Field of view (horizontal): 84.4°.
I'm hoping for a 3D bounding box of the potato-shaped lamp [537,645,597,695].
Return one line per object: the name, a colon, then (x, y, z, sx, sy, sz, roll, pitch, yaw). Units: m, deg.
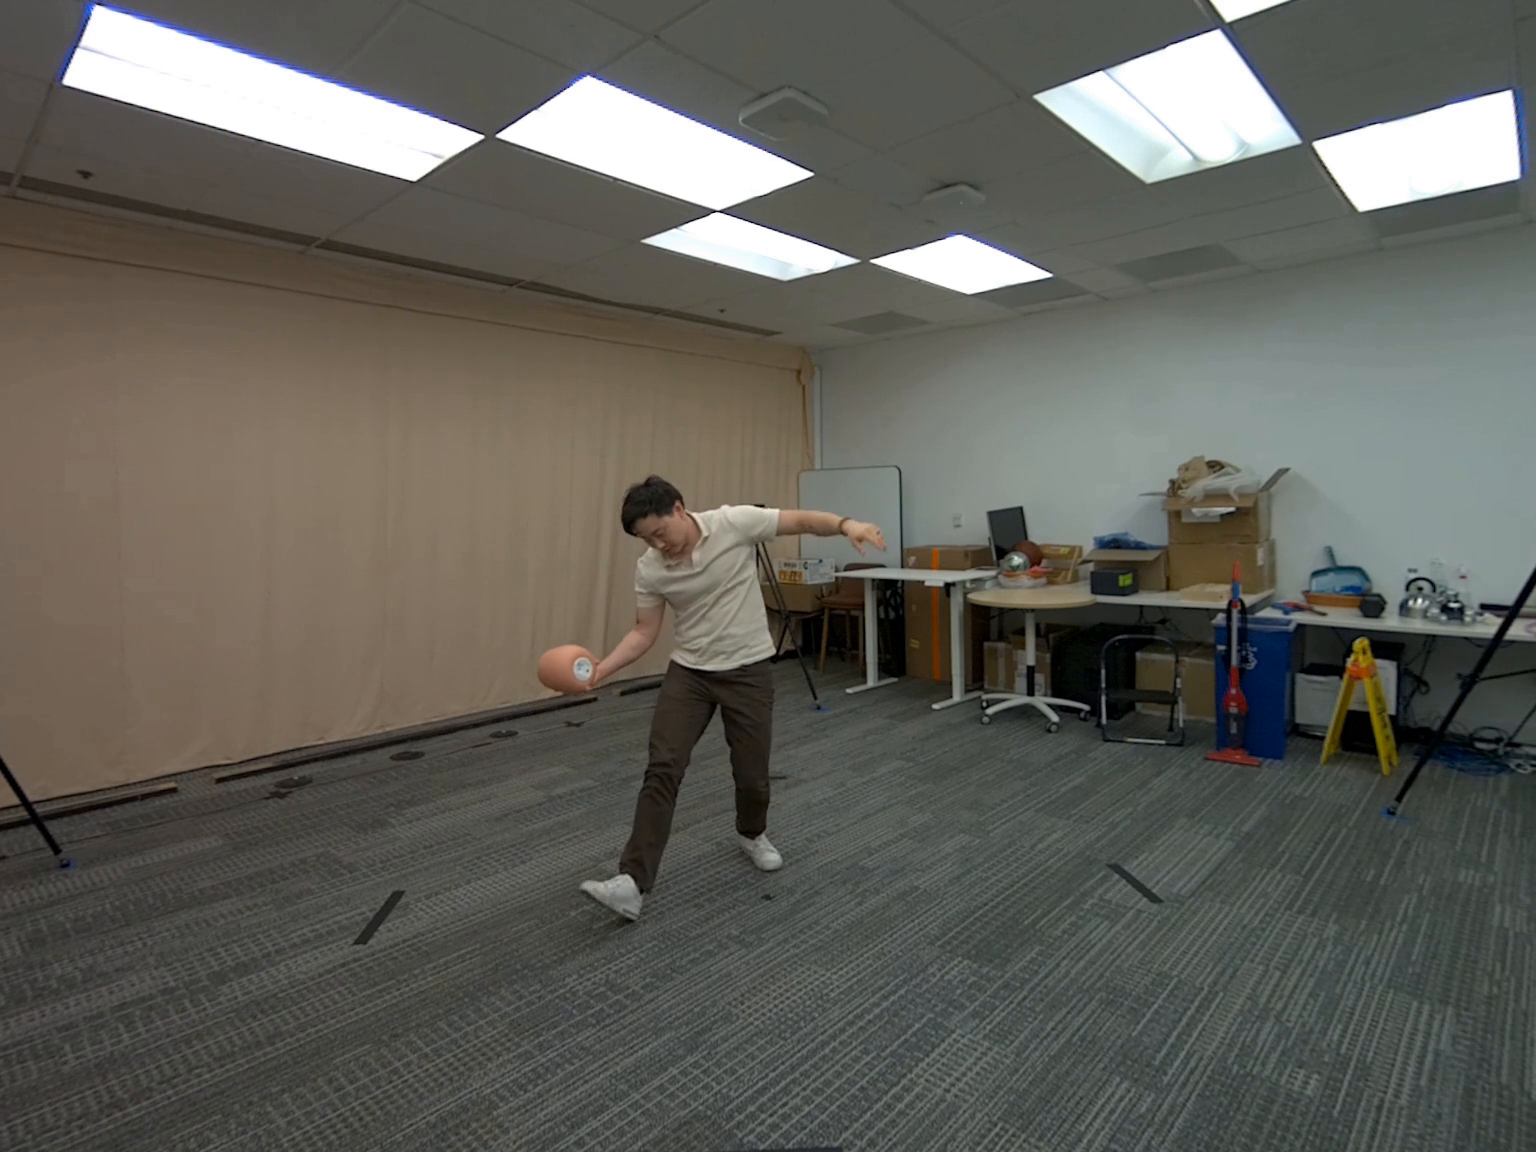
potato-shaped lamp: (-0.705, 0.338, 2.905, 0.203, 0.166, 0.165, -13, -39, 39)
